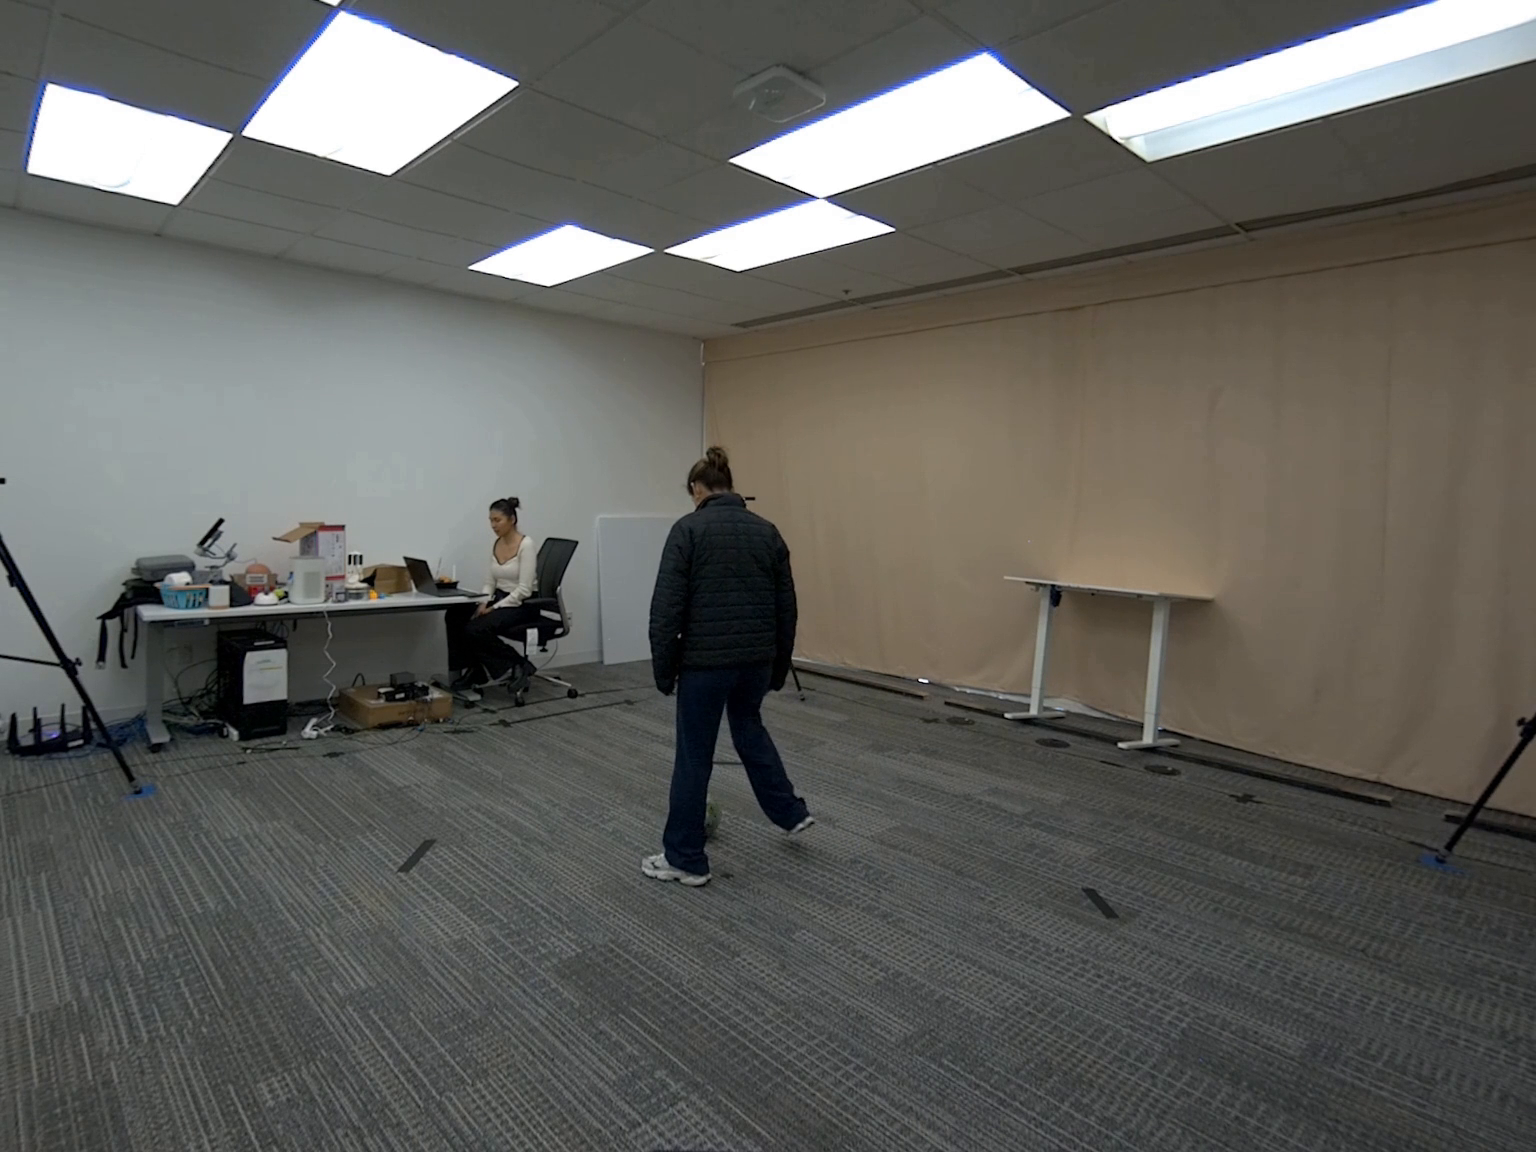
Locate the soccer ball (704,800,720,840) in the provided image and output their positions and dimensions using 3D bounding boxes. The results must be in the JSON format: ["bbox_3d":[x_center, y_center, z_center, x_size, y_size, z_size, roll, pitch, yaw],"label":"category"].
[{"bbox_3d":[-0.294,0.979,3.460,0.187,0.187,0.188,1,4,-1],"label":"soccer ball"}]
